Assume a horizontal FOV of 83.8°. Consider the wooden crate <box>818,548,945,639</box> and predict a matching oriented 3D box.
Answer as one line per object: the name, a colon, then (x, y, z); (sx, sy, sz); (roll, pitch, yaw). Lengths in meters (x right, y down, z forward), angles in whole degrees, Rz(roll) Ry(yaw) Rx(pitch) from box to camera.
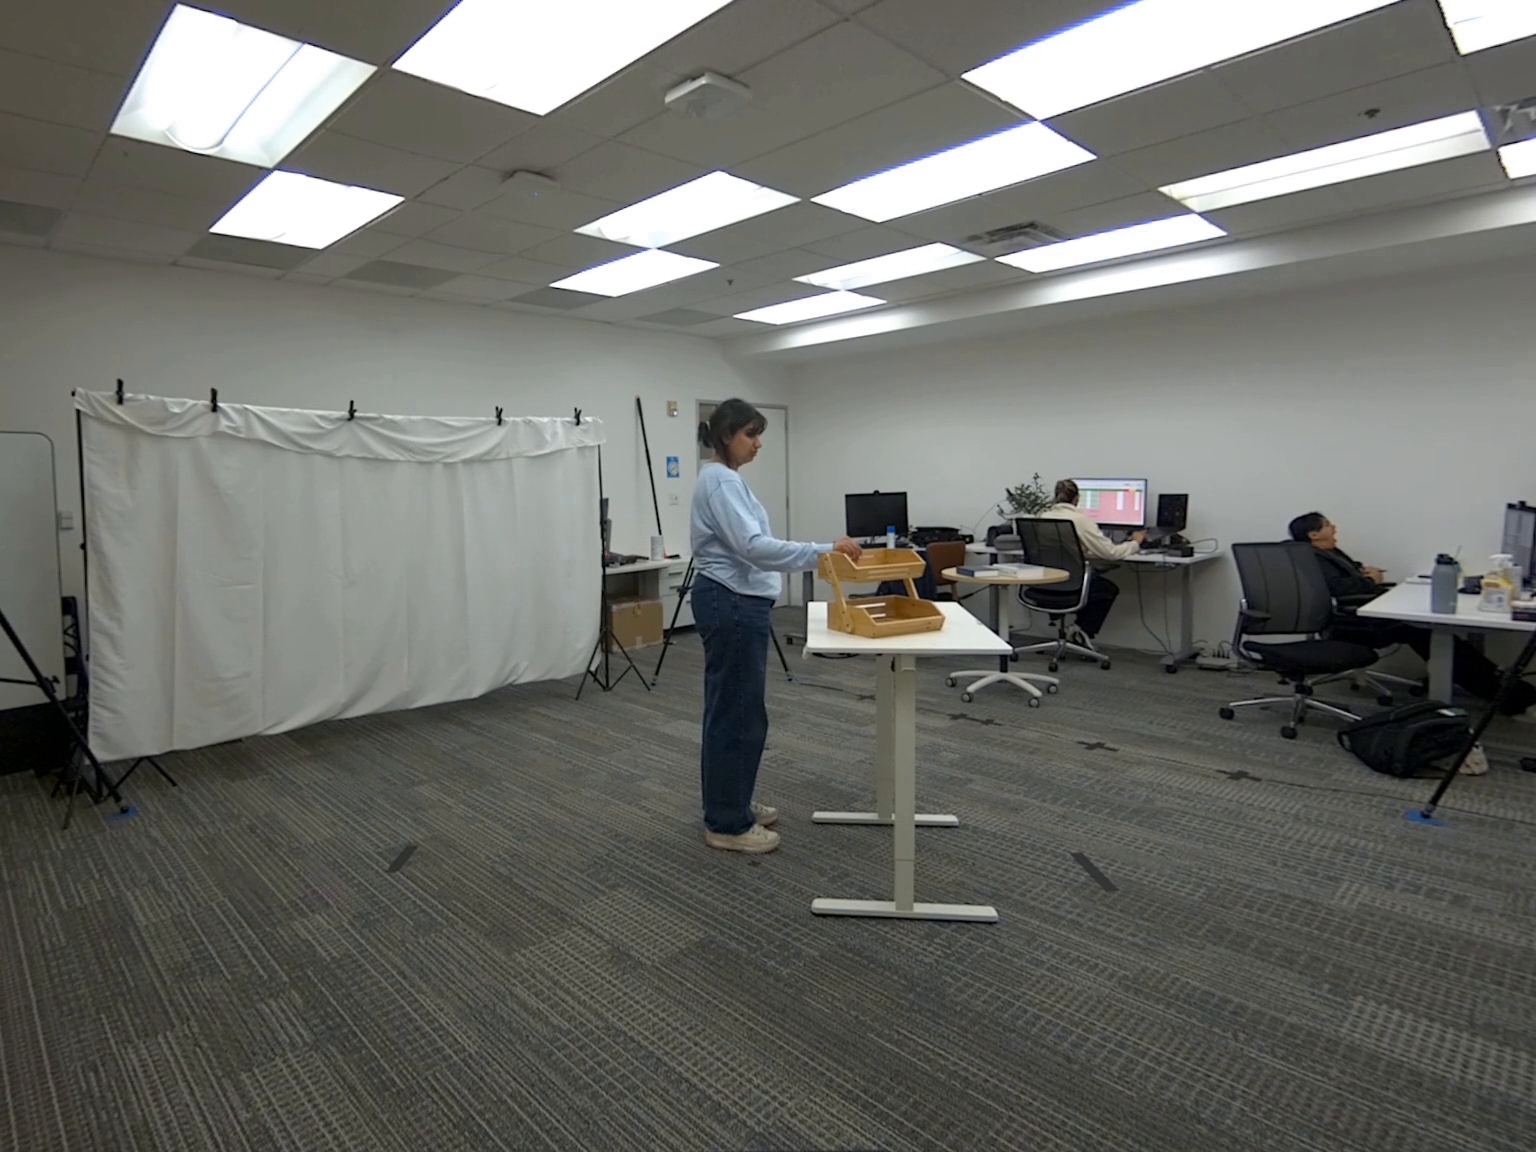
wooden crate: (0.388, 0.048, 2.877); (0.316, 0.272, 0.310); (-3, 5, -32)
